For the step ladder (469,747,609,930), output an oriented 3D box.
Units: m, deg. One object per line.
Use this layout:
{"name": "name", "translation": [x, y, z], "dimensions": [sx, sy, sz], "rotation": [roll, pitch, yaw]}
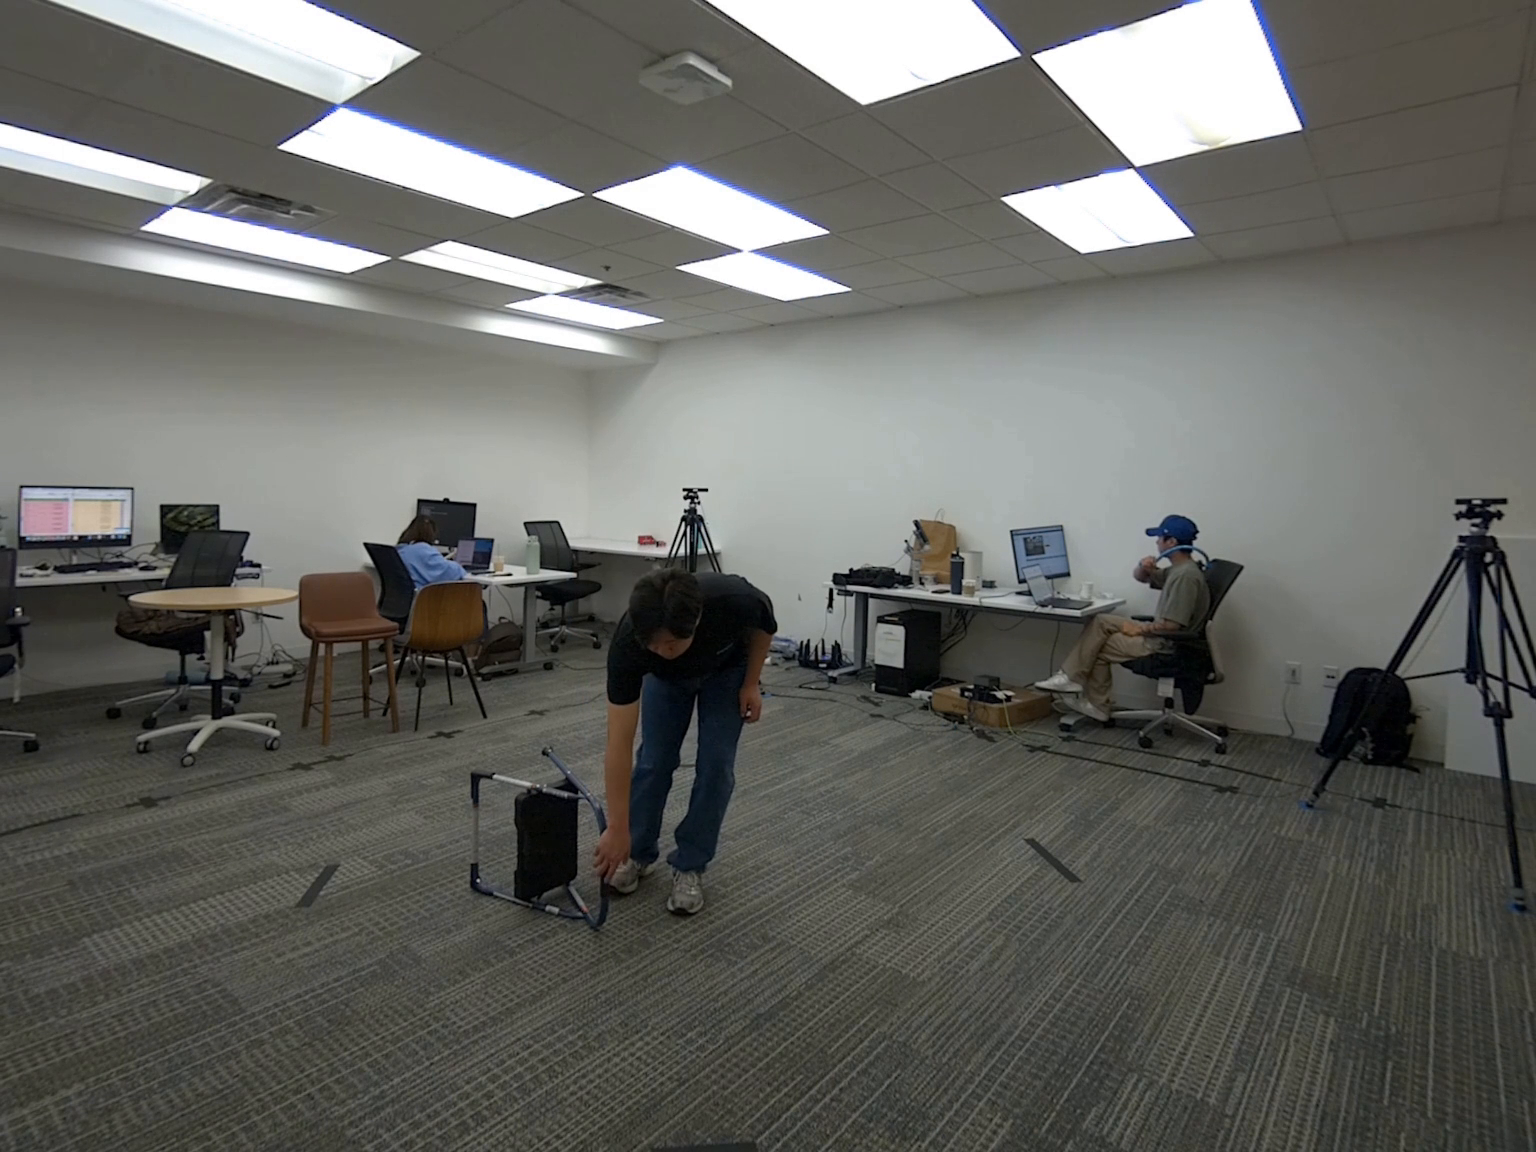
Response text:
{"name": "step ladder", "translation": [-0.692, 0.878, 2.838], "dimensions": [0.627, 0.428, 0.339], "rotation": [6, 7, 40]}
